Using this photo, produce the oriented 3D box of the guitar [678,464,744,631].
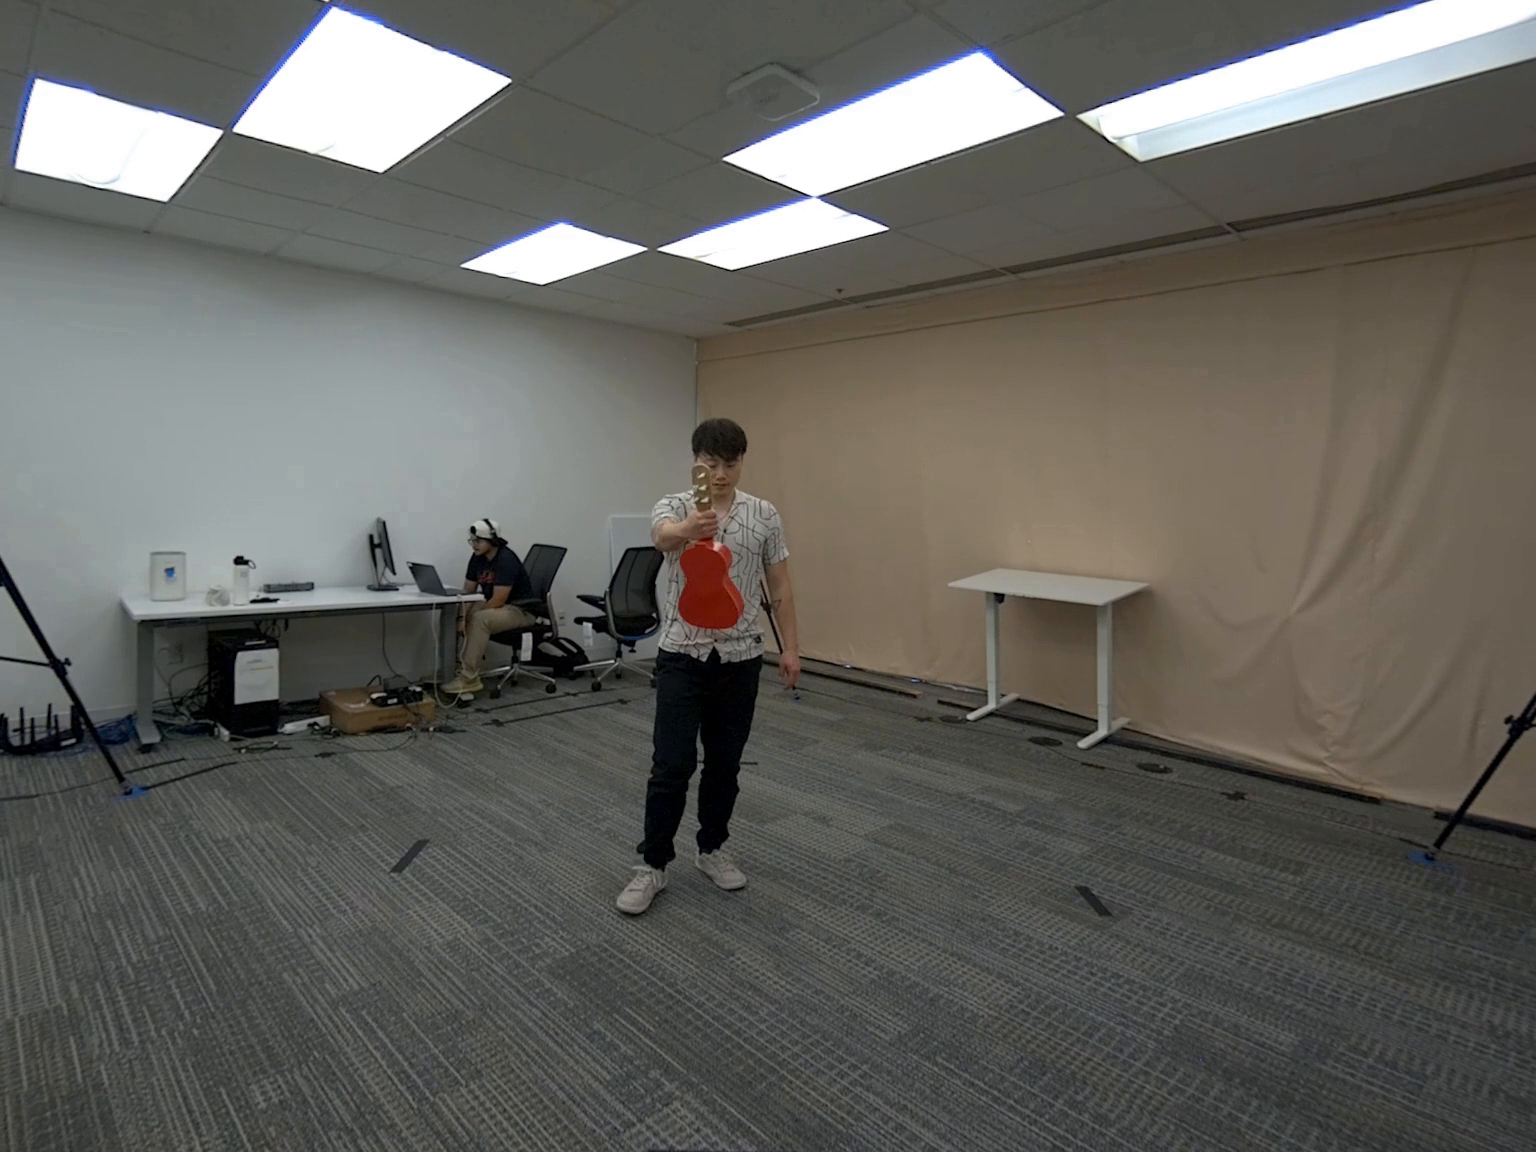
[{"bbox_3d":[-0.219,-0.075,2.475,0.196,0.490,0.071,-3,21,22],"label":"guitar"}]
